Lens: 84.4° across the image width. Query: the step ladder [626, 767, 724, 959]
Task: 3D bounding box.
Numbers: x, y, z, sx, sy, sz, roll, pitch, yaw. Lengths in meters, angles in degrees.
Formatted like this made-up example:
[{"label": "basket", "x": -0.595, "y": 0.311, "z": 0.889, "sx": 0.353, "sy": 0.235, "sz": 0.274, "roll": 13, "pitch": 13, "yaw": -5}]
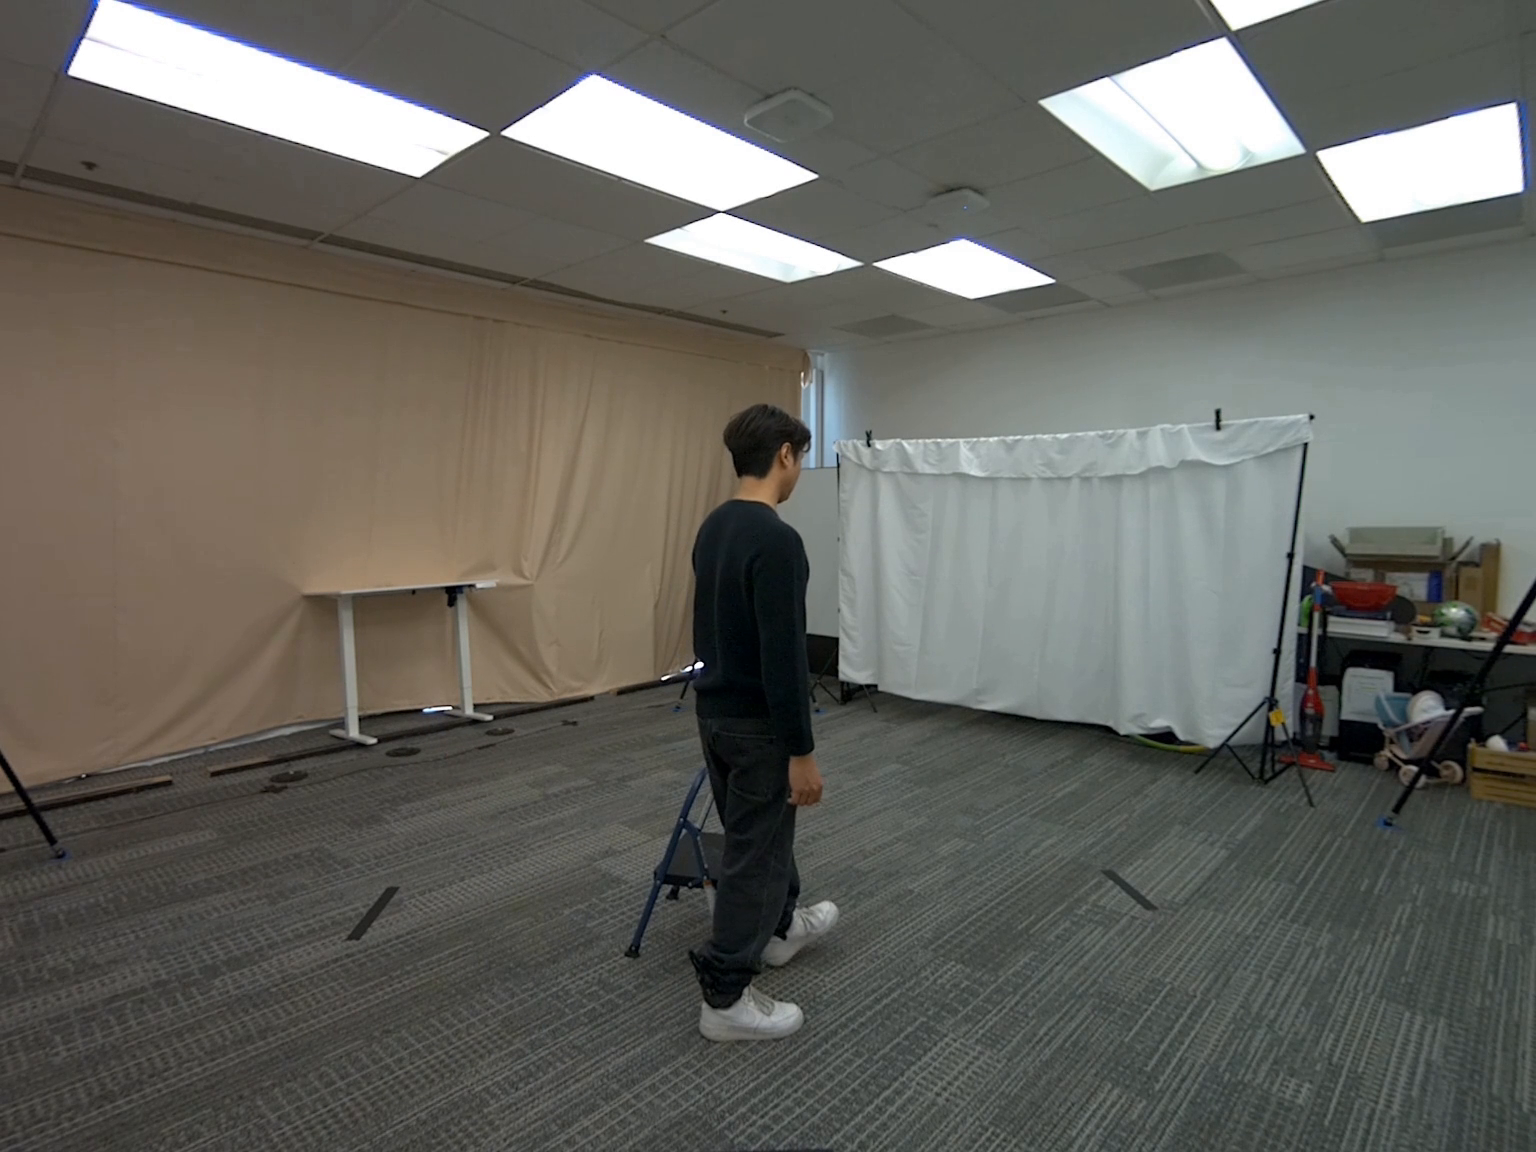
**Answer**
[{"label": "step ladder", "x": -0.239, "y": 0.863, "z": 2.750, "sx": 0.354, "sy": 0.605, "sz": 0.425, "roll": 0, "pitch": 4, "yaw": 12}]
